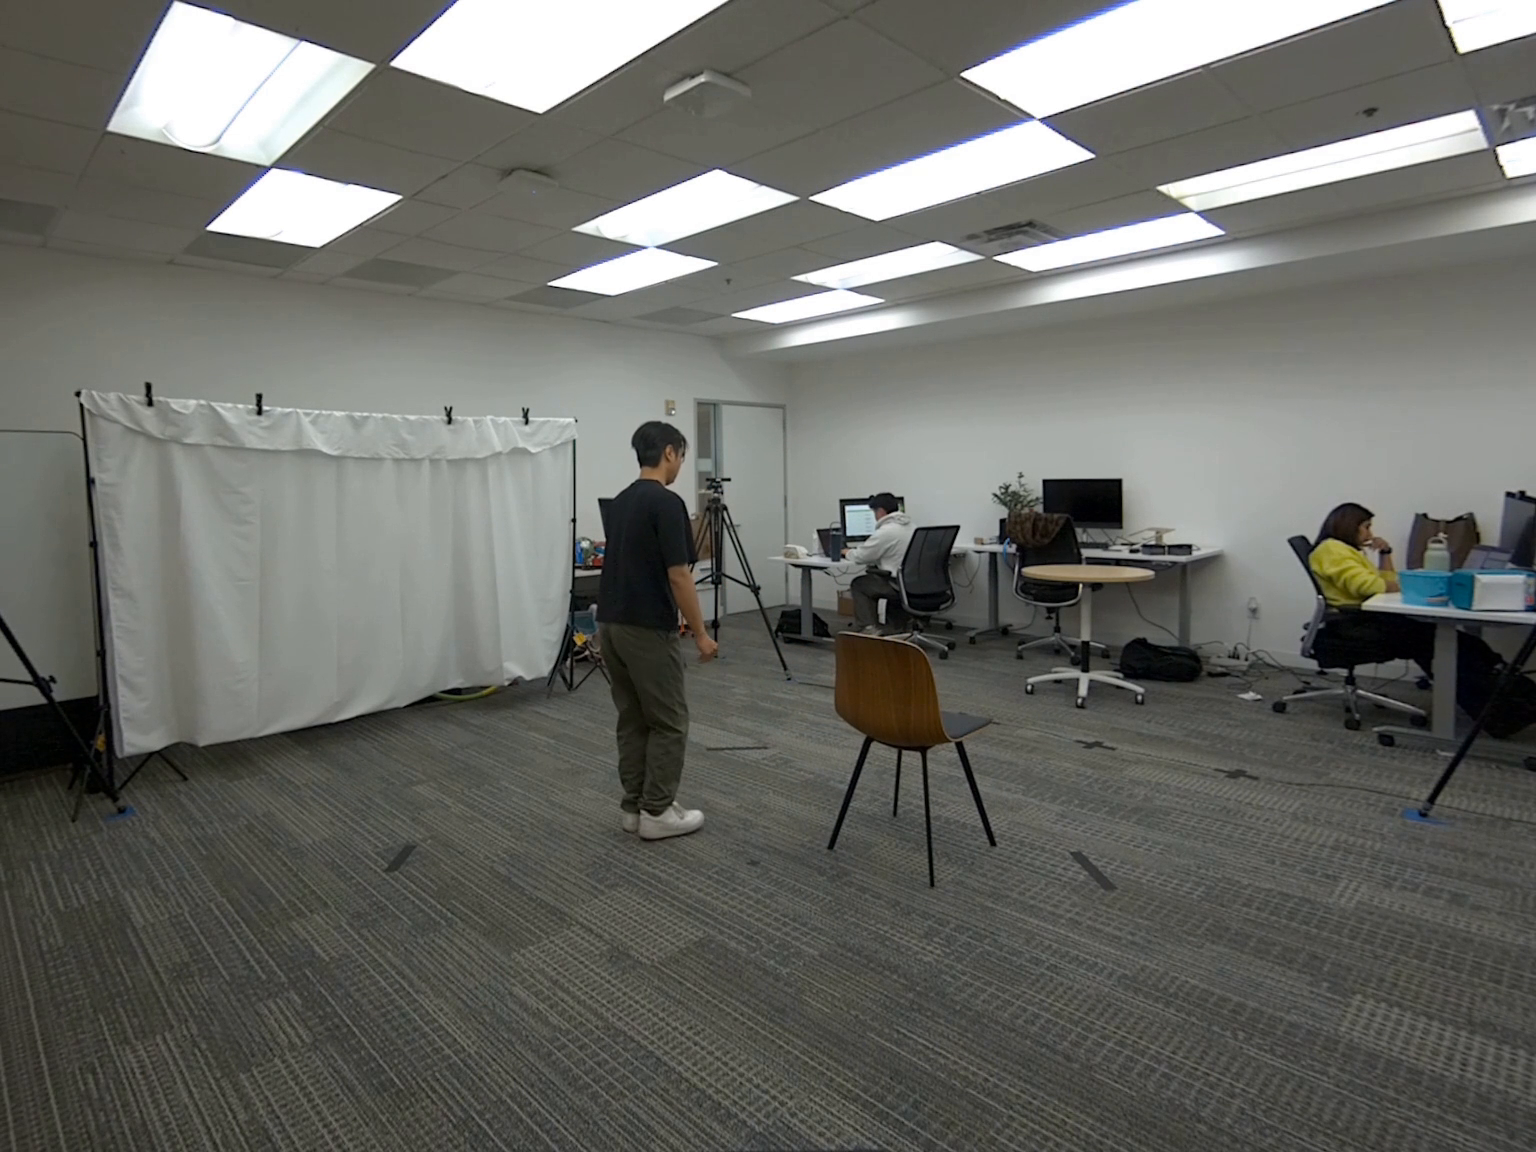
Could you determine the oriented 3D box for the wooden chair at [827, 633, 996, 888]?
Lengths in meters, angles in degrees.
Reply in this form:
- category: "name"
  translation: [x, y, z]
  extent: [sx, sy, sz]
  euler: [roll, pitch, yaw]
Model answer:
- category: "wooden chair"
  translation: [0.543, 0.598, 3.180]
  extent: [0.492, 0.872, 0.511]
  euler: [2, 9, 43]
